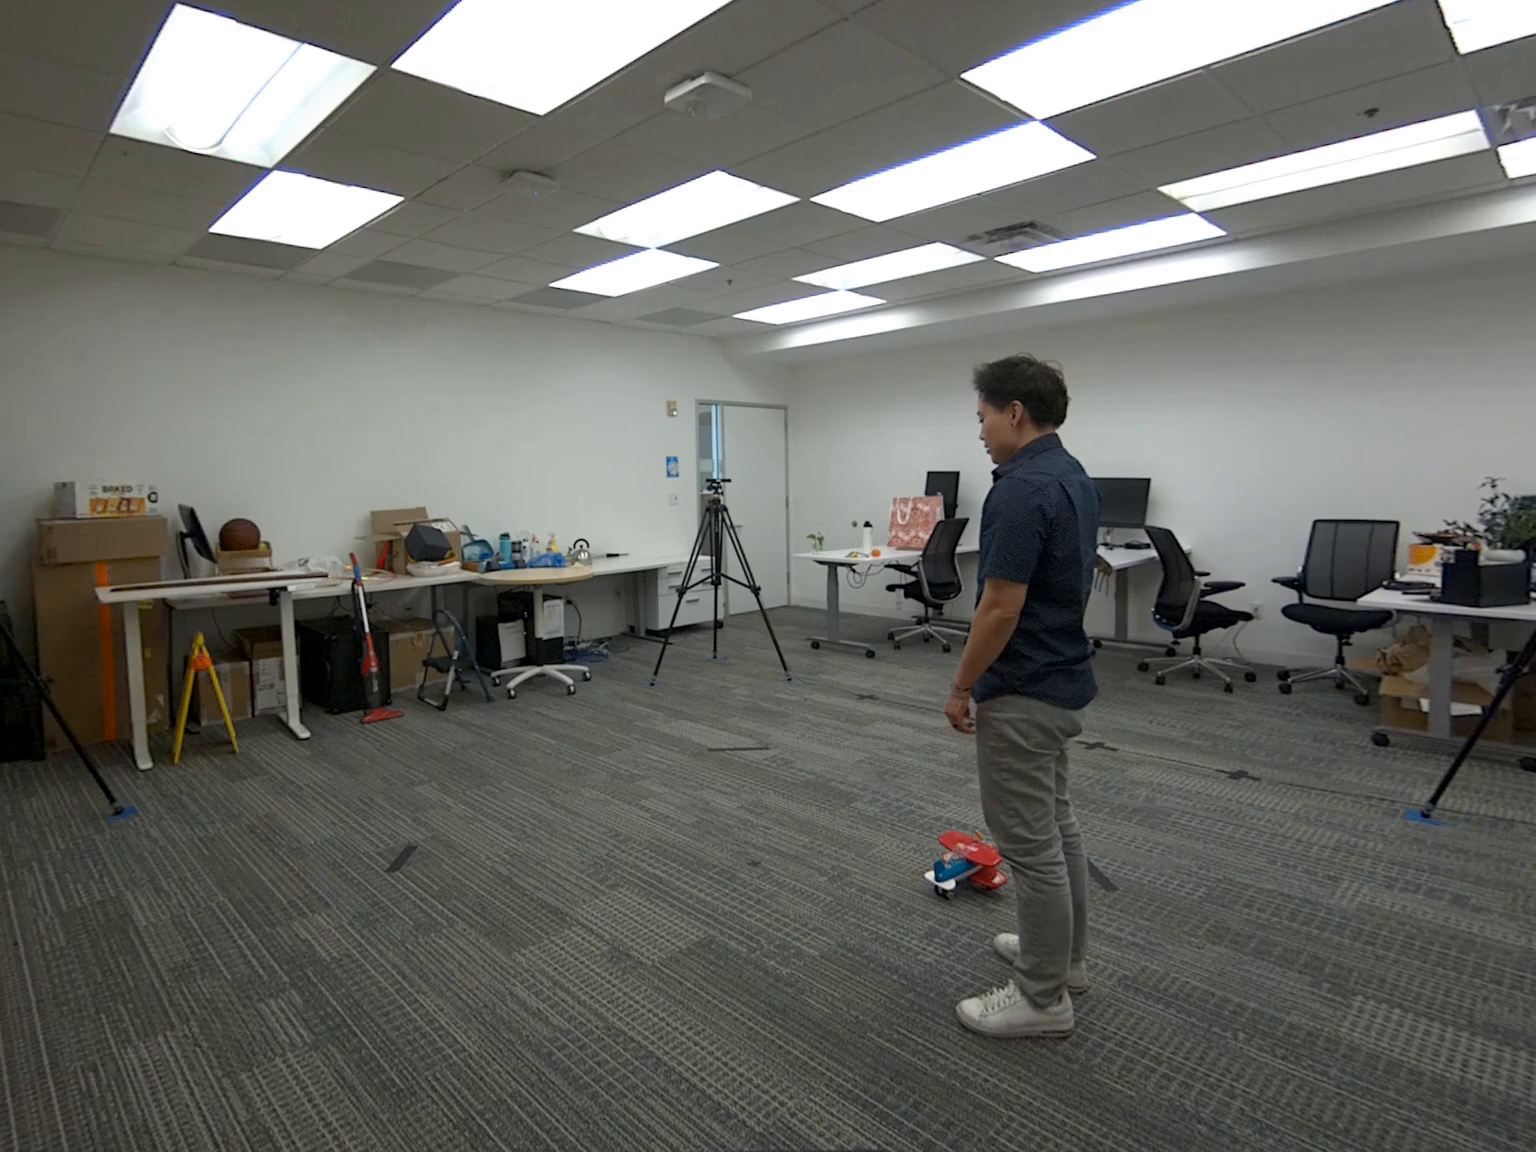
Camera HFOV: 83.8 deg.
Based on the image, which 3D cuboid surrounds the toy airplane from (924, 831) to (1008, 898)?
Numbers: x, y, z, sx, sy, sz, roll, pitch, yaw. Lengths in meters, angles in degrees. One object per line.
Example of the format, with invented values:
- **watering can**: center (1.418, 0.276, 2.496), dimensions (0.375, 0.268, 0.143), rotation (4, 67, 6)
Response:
- **toy airplane**: center (0.676, 0.985, 2.864), dimensions (0.258, 0.156, 0.253), rotation (3, 6, 31)
